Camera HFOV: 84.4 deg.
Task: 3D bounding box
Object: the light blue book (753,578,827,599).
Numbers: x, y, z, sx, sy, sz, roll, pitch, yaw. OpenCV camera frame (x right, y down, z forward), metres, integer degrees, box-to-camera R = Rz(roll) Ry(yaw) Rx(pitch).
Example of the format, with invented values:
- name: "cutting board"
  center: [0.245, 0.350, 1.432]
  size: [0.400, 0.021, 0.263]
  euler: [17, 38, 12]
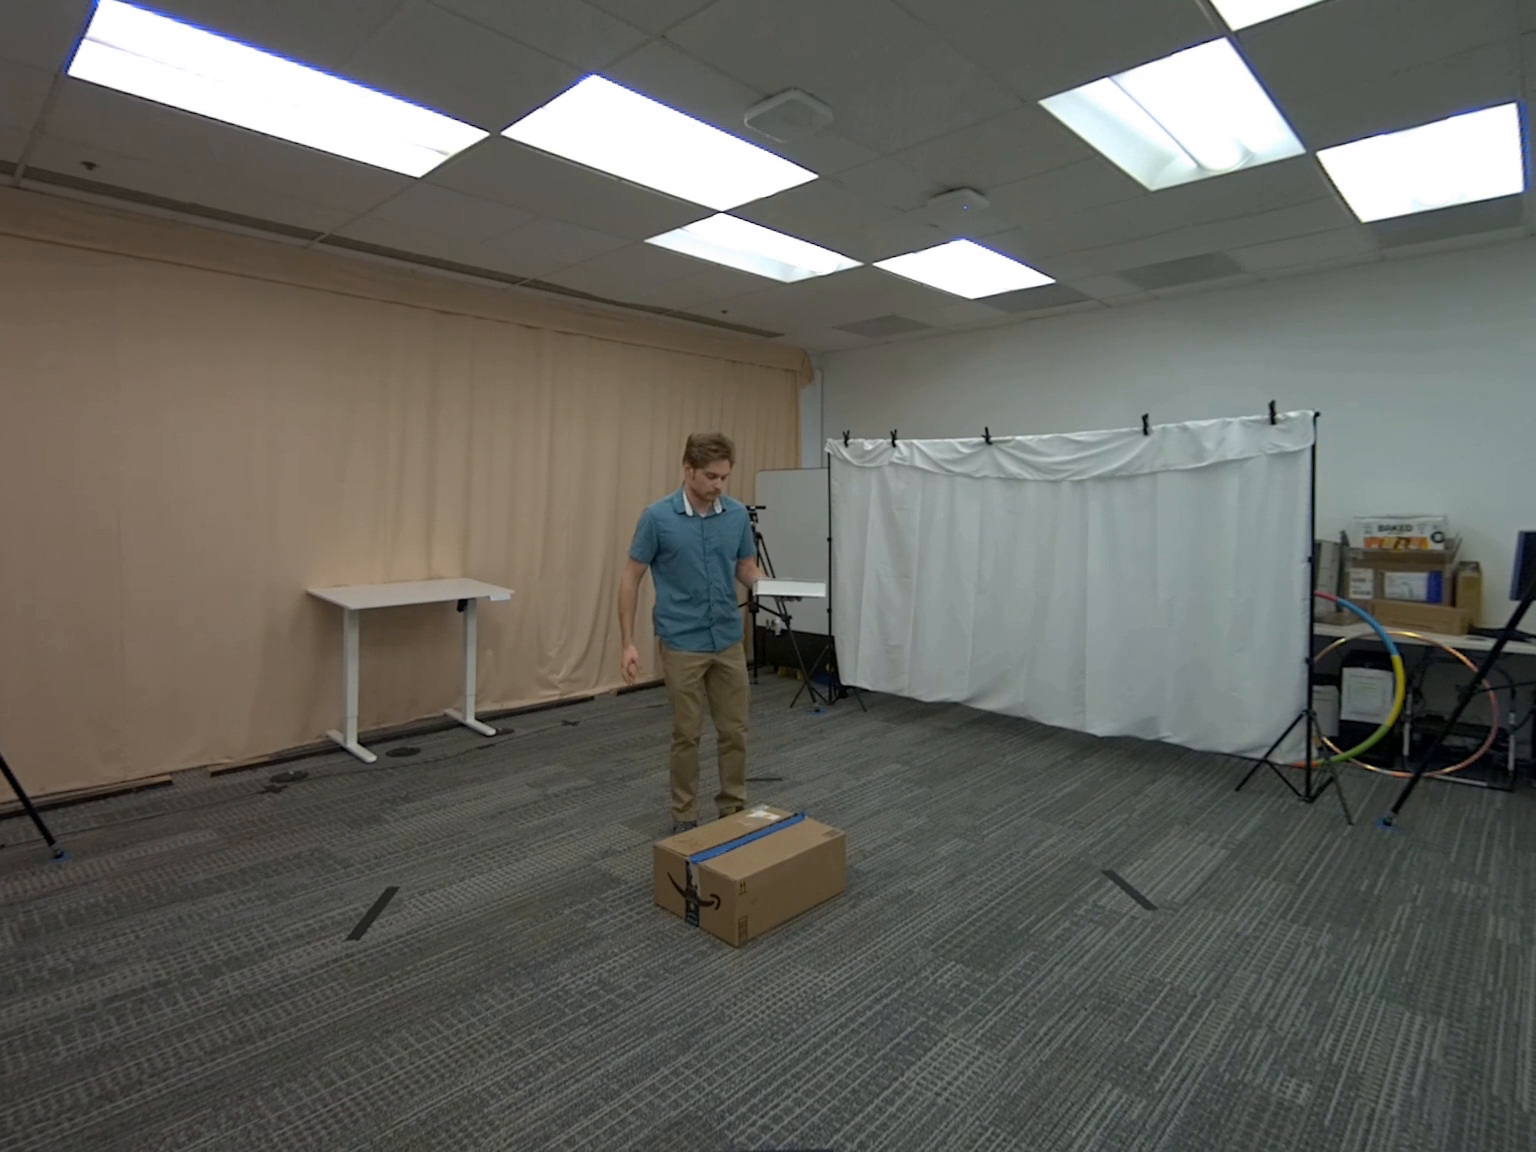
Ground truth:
- name: "light blue book"
  center: [0.101, 0.057, 3.253]
  size: [0.261, 0.059, 0.191]
  euler: [2, 0, 1]
